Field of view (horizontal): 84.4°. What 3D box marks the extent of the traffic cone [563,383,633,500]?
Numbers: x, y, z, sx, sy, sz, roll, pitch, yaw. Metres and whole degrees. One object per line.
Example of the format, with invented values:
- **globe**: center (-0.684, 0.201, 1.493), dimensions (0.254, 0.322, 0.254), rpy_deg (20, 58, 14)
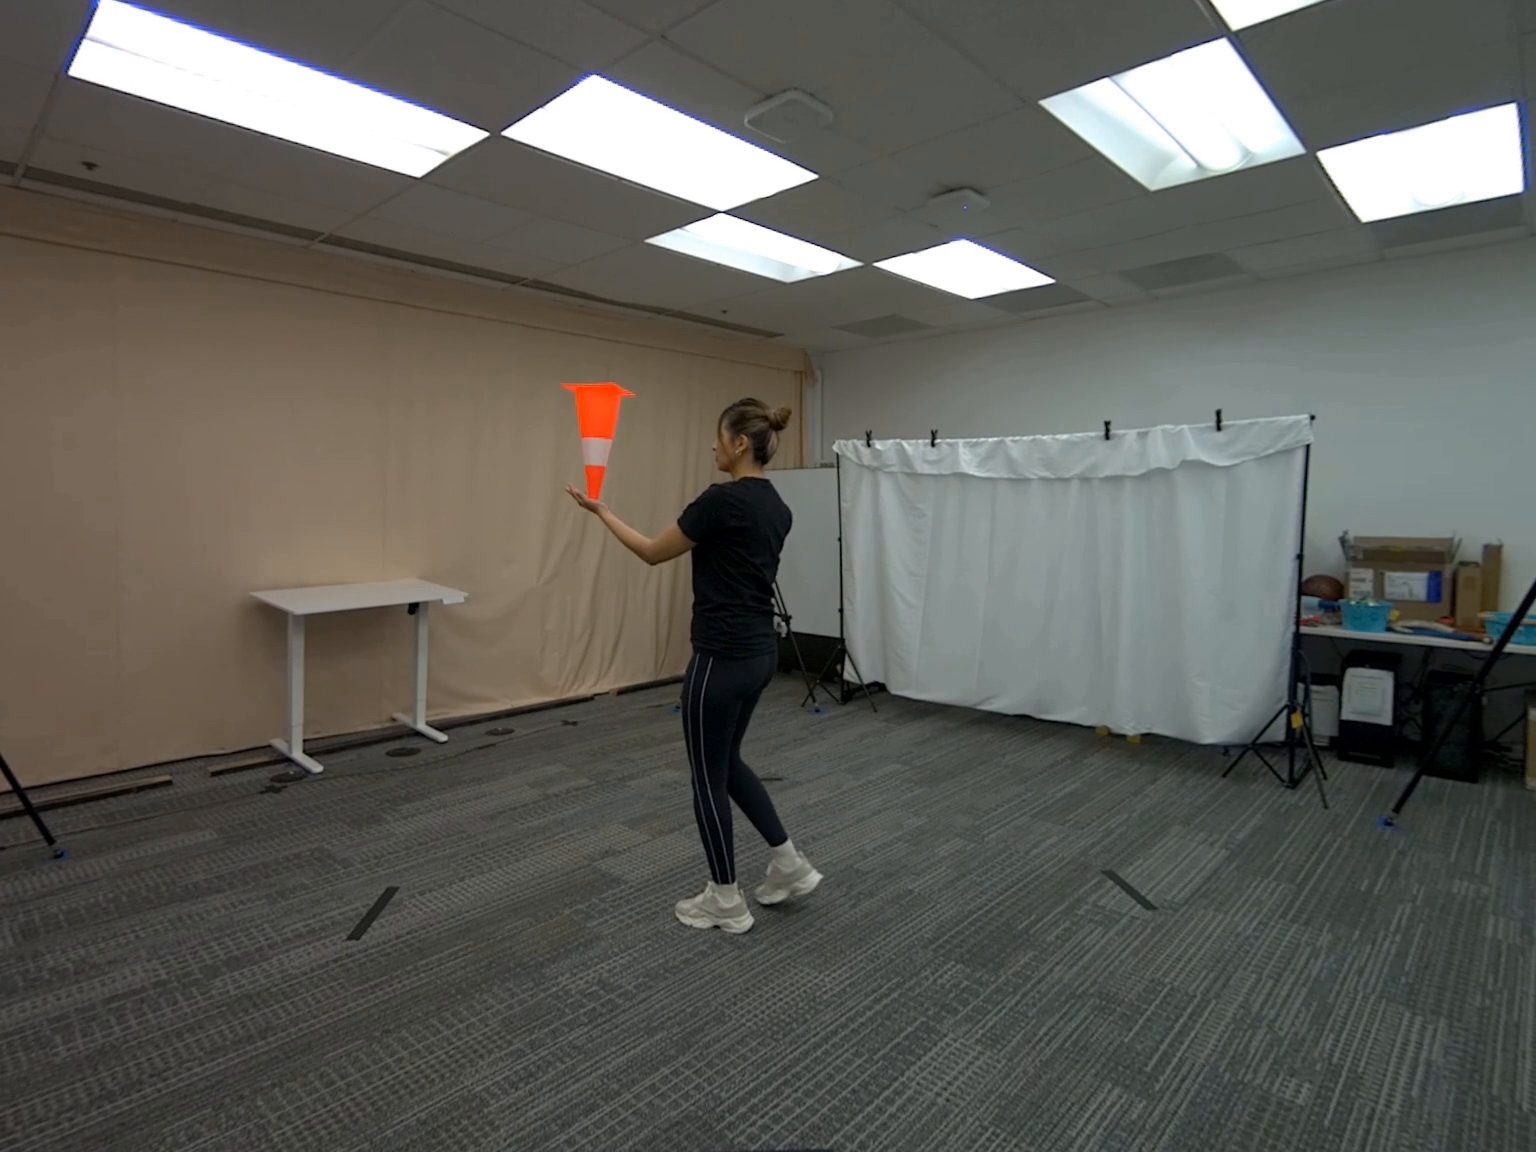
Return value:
- **traffic cone**: center (-0.579, -0.435, 2.835), dimensions (0.210, 0.383, 0.198), rpy_deg (3, 1, 23)
